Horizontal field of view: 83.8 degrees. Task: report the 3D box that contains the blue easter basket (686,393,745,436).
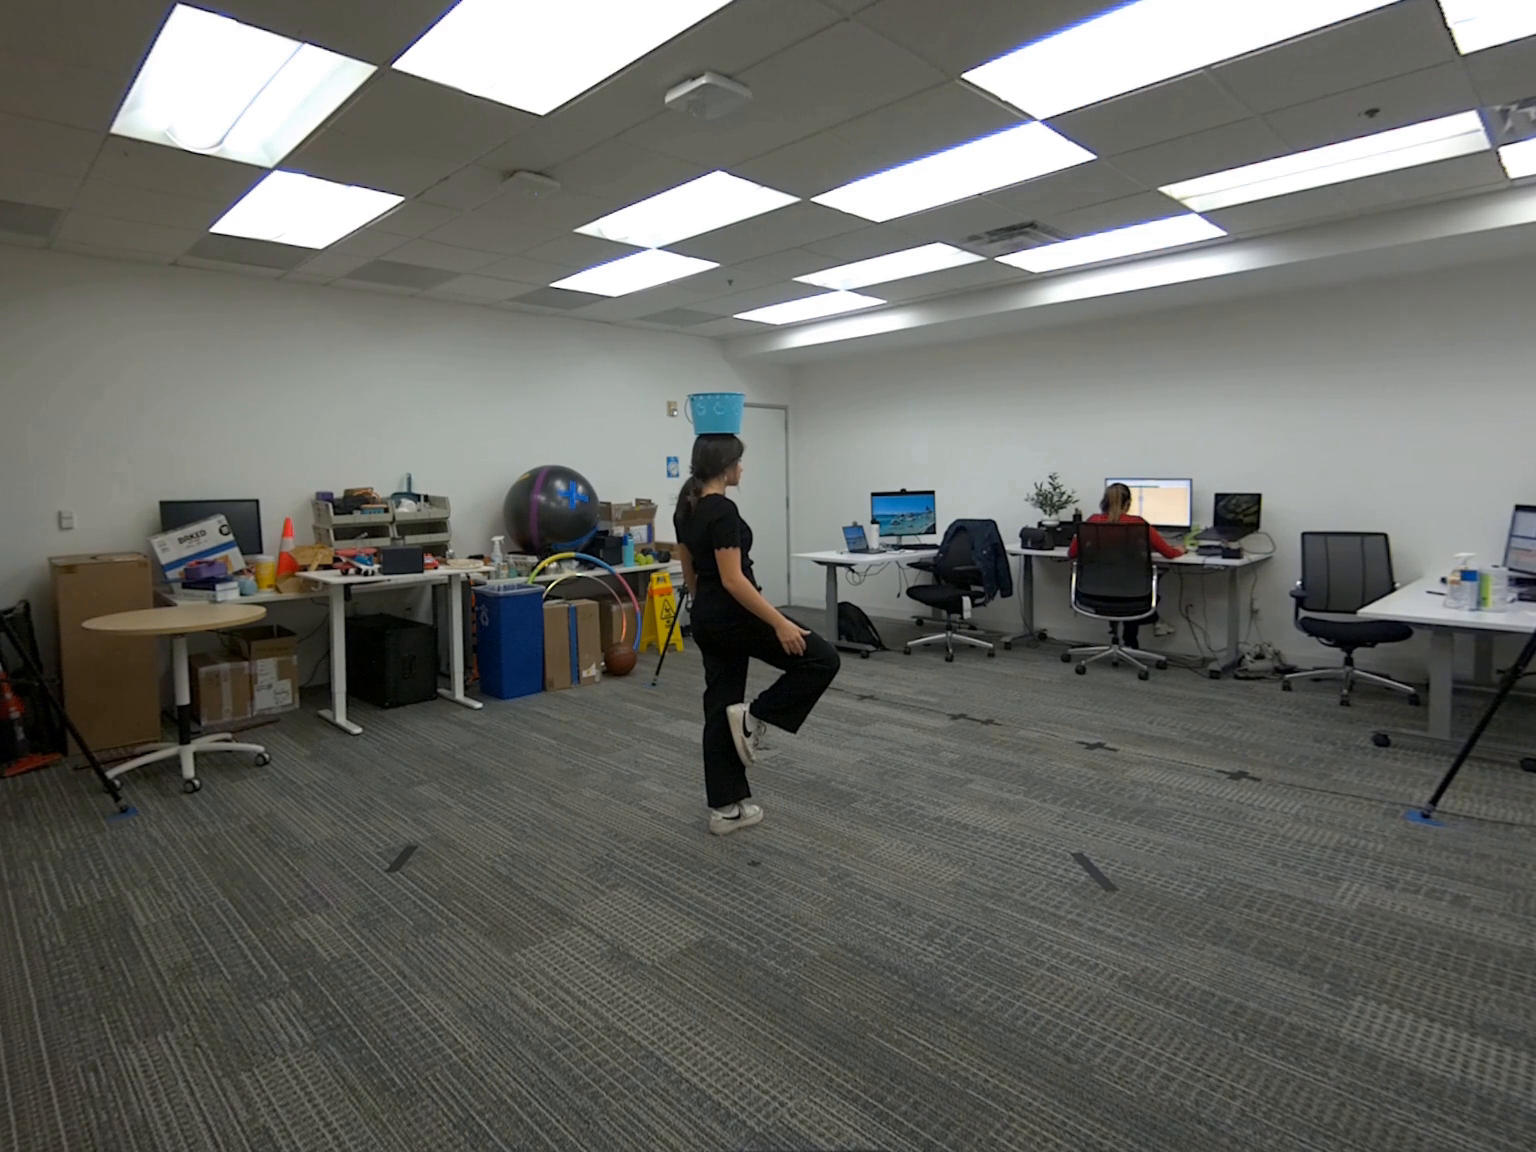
[{"bbox_3d":[-0.210,-0.639,3.363,0.243,0.155,0.245,-1,6,-2],"label":"blue easter basket"}]
